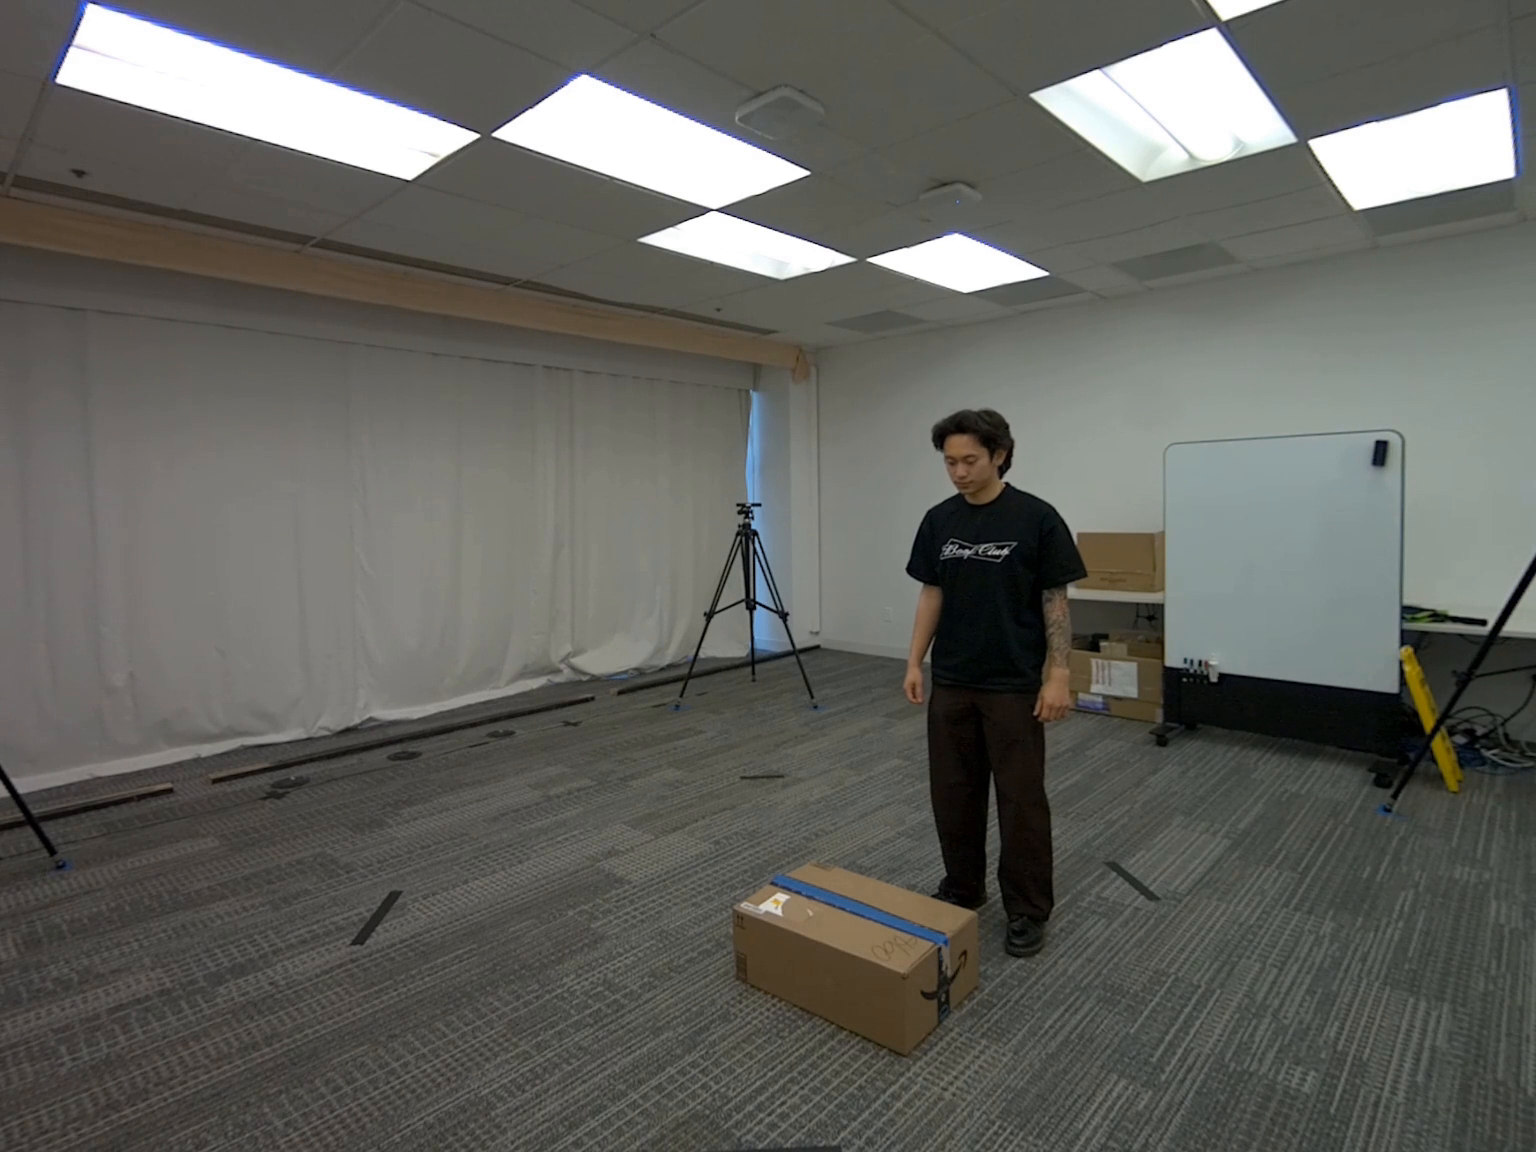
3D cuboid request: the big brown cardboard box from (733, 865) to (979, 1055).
[{"bbox_3d":[0.250,1.065,2.441,0.608,0.232,0.405,5,7,39],"label":"big brown cardboard box"}]
